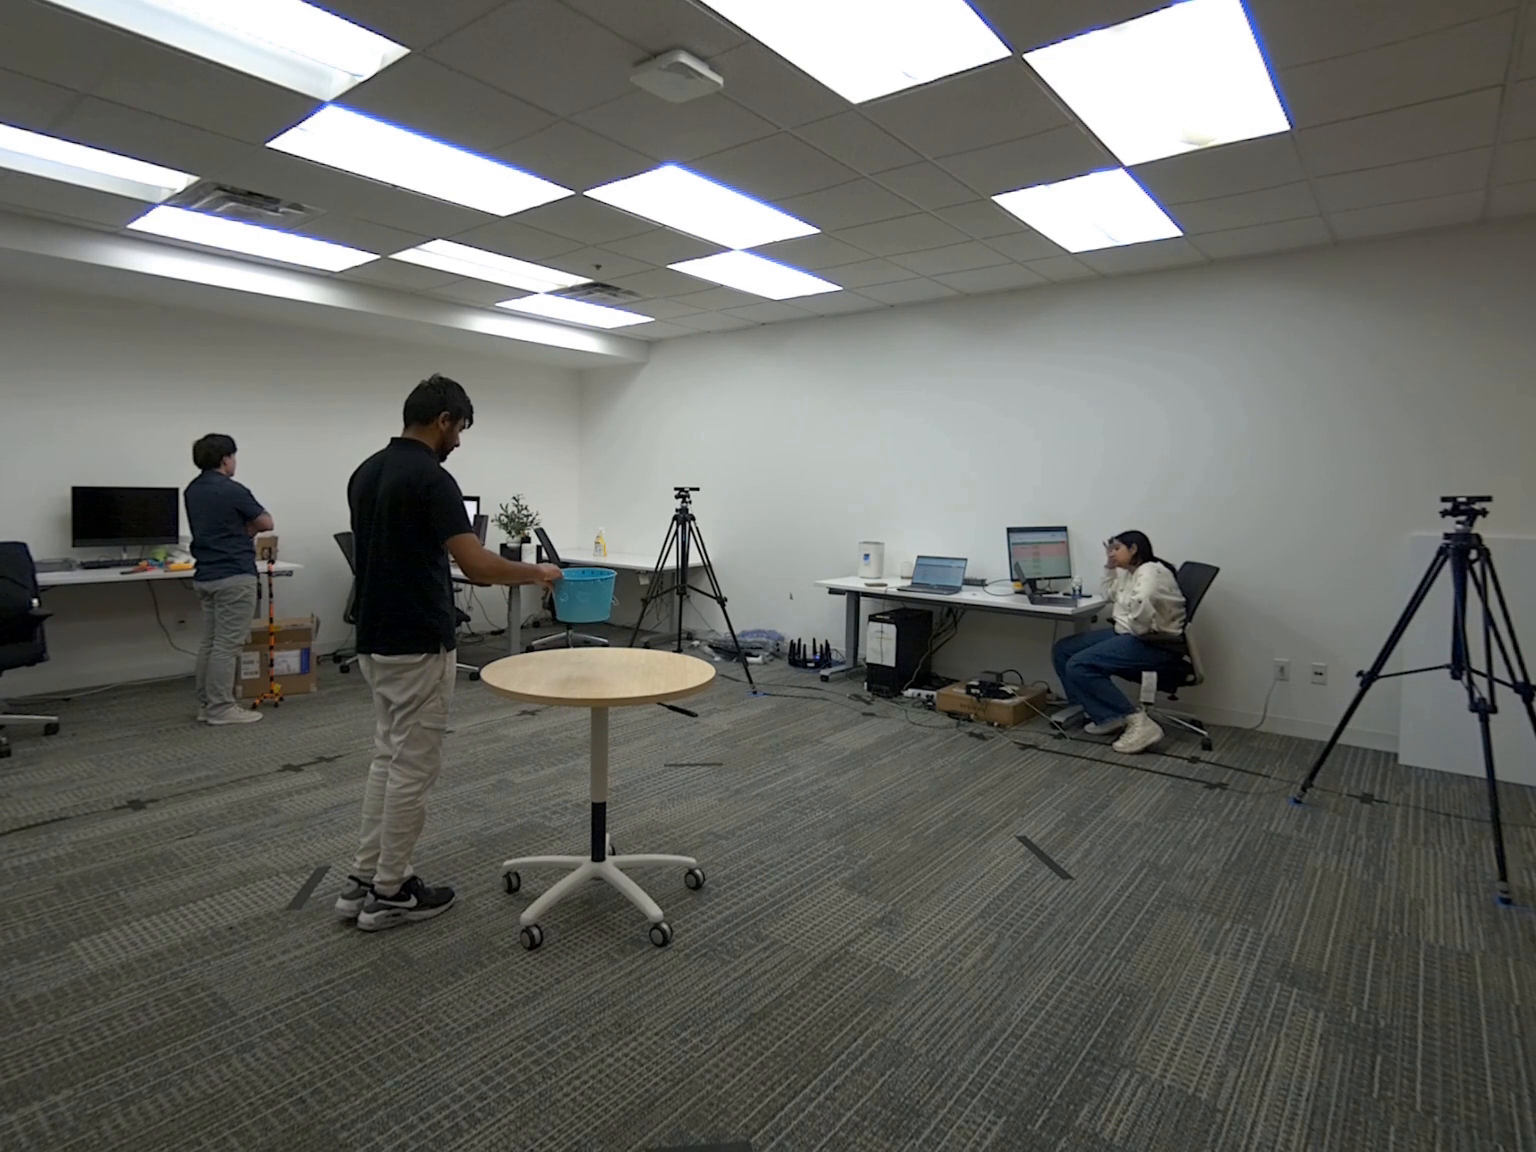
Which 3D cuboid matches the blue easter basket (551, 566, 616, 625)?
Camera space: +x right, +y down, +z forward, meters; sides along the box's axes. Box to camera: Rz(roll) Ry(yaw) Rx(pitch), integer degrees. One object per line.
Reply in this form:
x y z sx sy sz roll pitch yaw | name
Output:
-0.652 0.076 2.930 0.243 0.155 0.246 -1 9 -2 | blue easter basket
